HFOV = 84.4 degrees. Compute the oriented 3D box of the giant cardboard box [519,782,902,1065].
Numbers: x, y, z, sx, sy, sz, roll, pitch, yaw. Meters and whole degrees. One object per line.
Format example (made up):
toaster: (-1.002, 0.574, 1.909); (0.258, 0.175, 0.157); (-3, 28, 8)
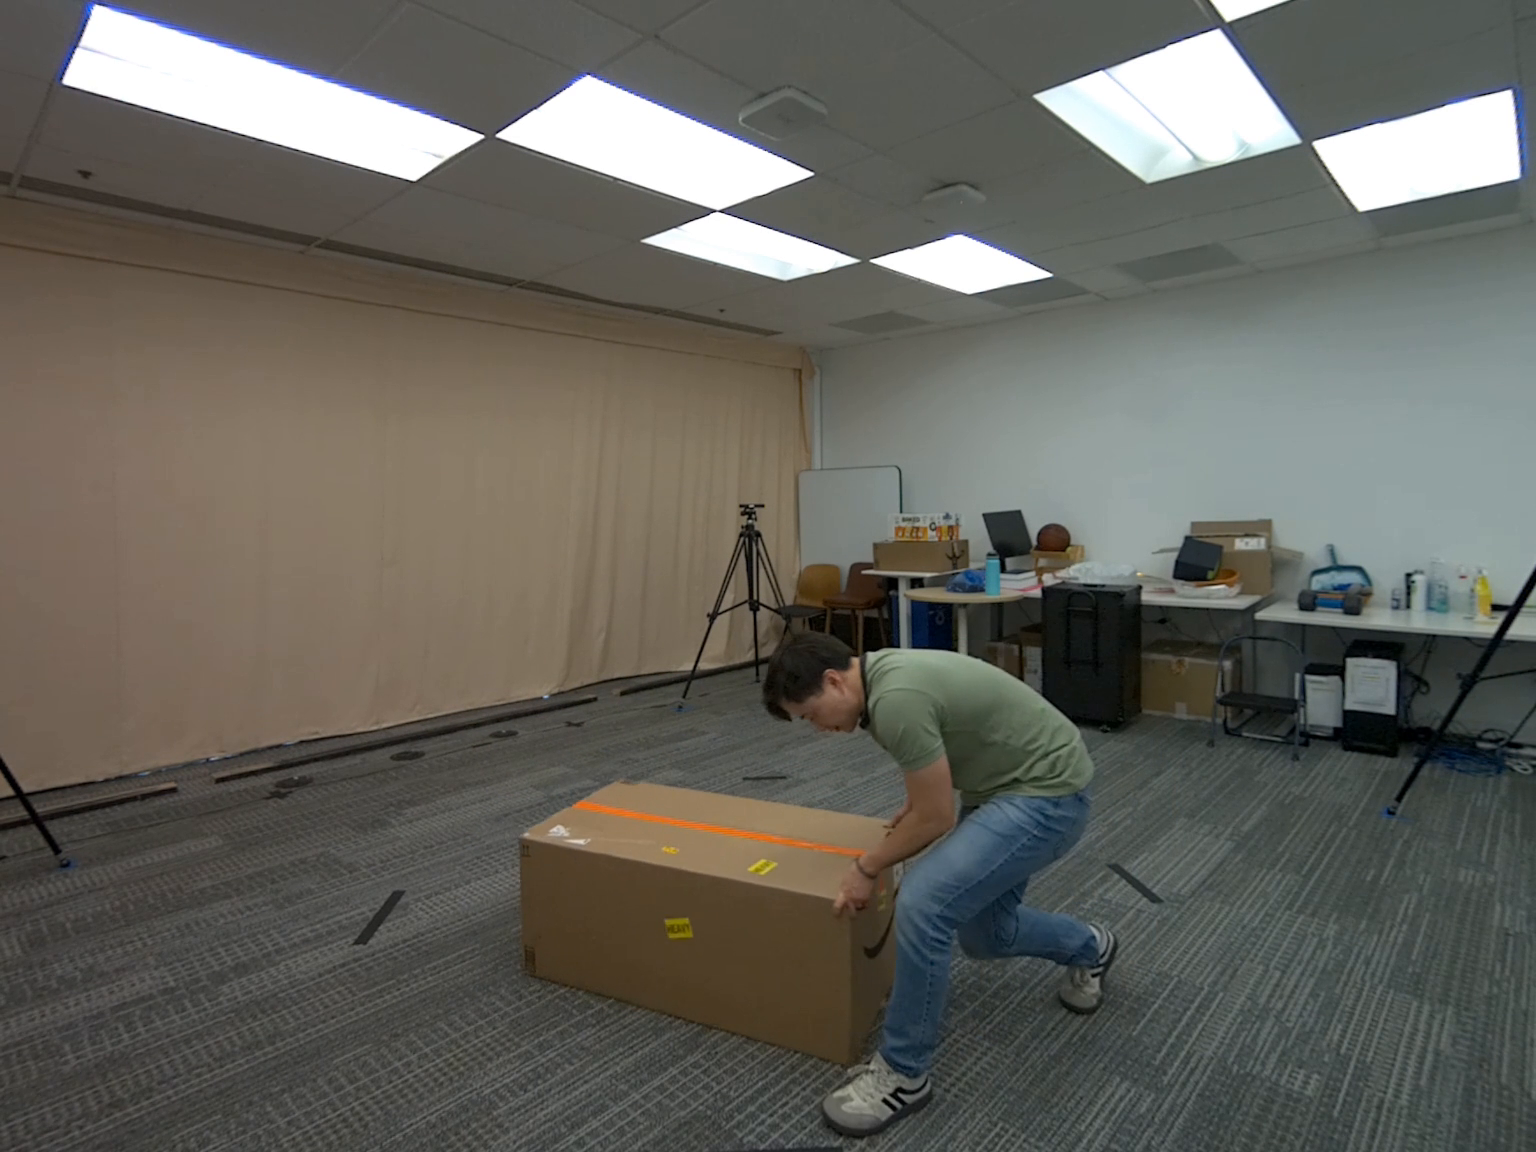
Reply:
giant cardboard box: (-0.153, 0.967, 2.549); (1.052, 0.425, 0.565); (1, 6, 25)
